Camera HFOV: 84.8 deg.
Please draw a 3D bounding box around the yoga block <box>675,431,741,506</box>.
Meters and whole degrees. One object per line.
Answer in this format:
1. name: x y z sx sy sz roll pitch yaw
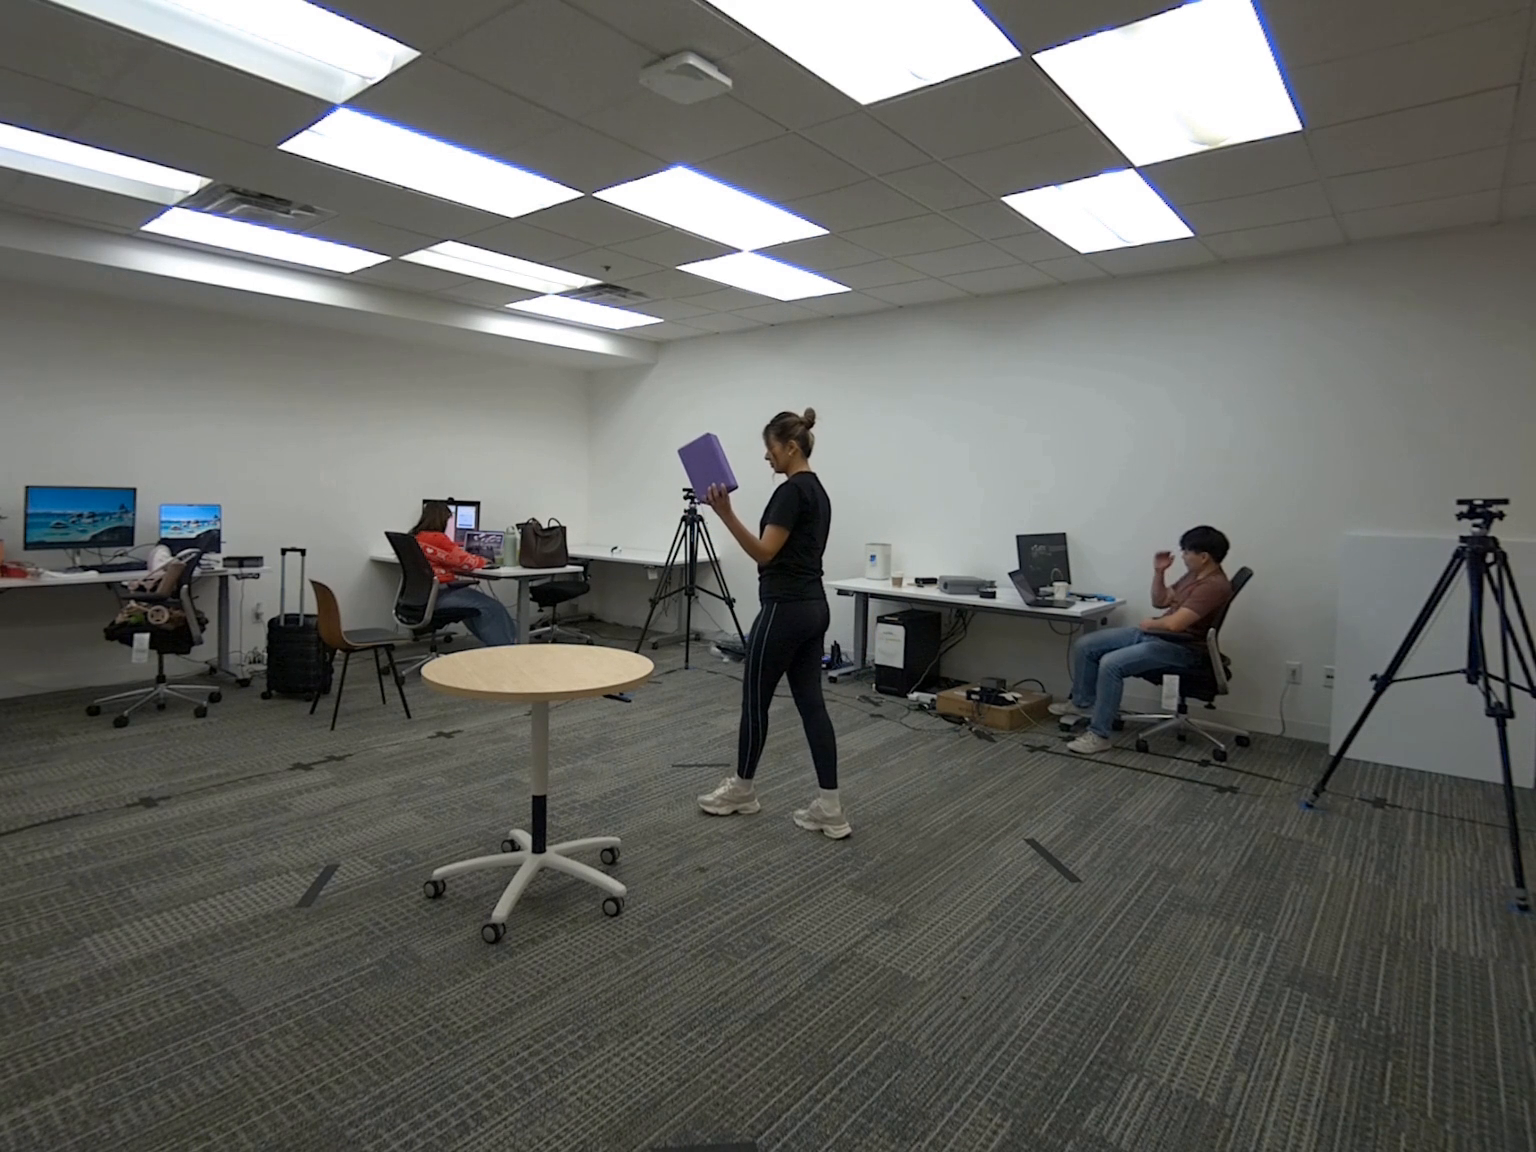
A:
1. yoga block: -0.229 -0.403 3.158 0.150 0.232 0.075 -27 -11 19
